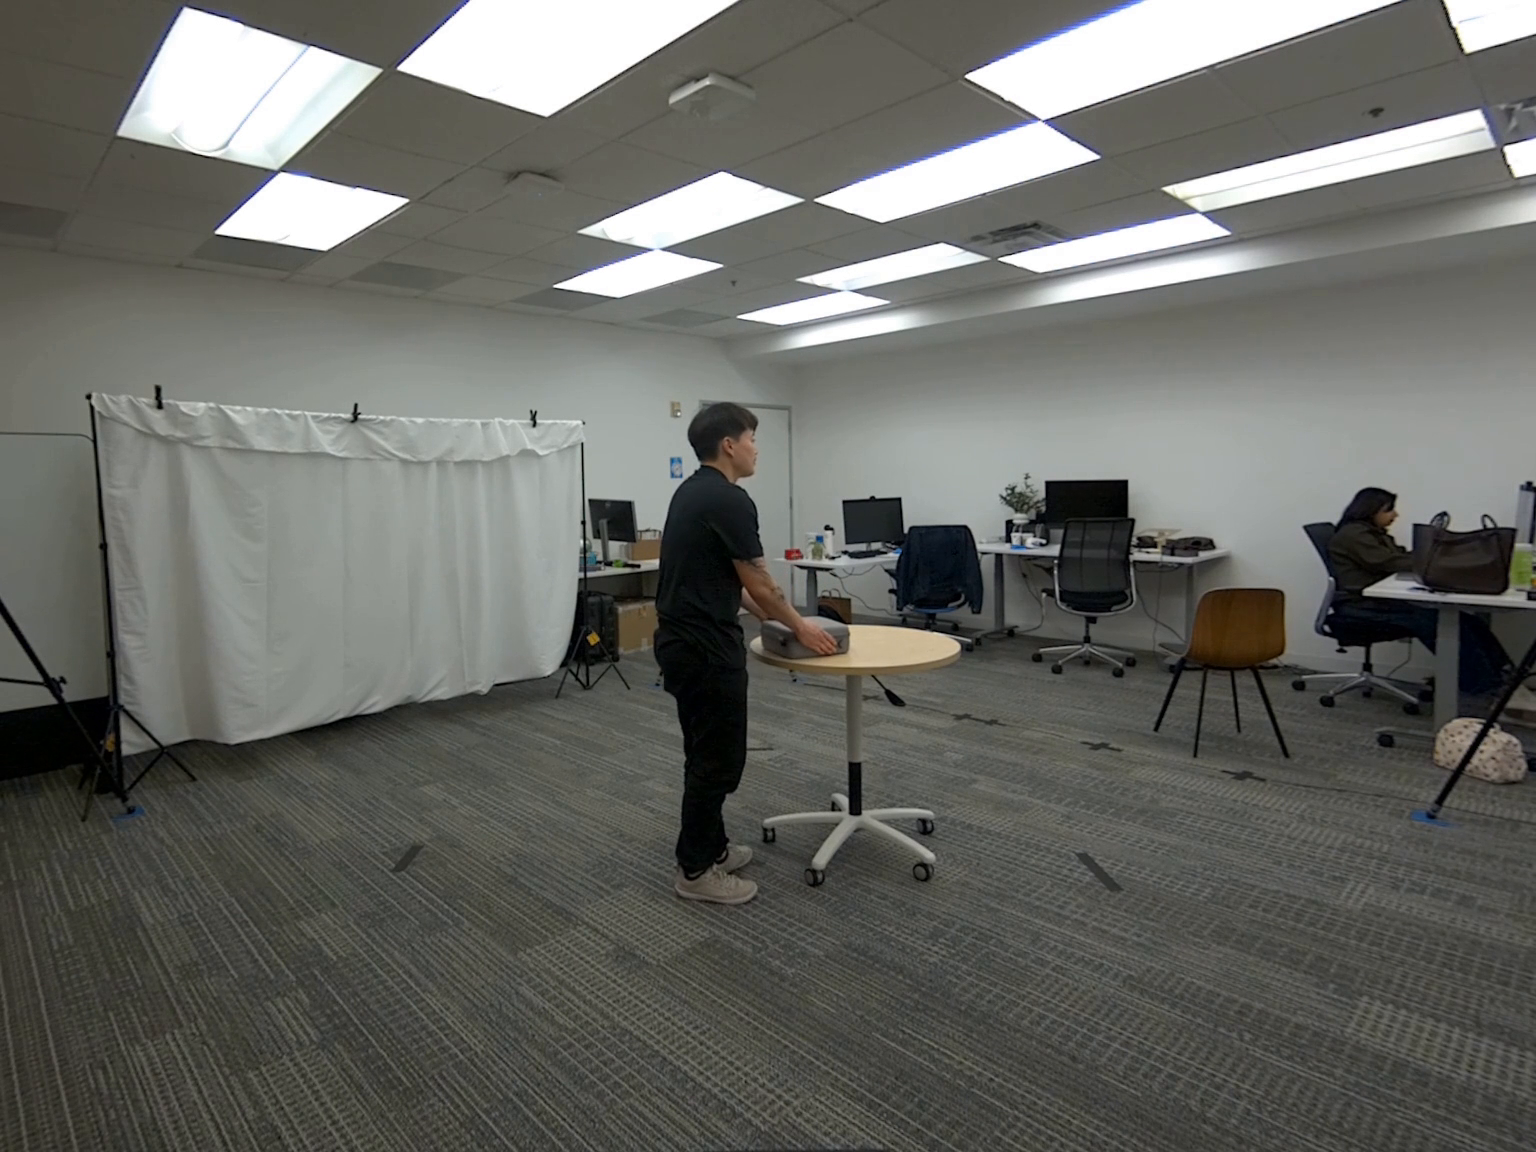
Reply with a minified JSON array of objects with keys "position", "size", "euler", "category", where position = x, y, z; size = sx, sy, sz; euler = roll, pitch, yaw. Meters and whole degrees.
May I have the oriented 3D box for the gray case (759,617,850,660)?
[{"position":[0.140,0.212,3.055],"size":[0.256,0.104,0.263],"euler":[-3,6,-21],"category":"gray case"}]
